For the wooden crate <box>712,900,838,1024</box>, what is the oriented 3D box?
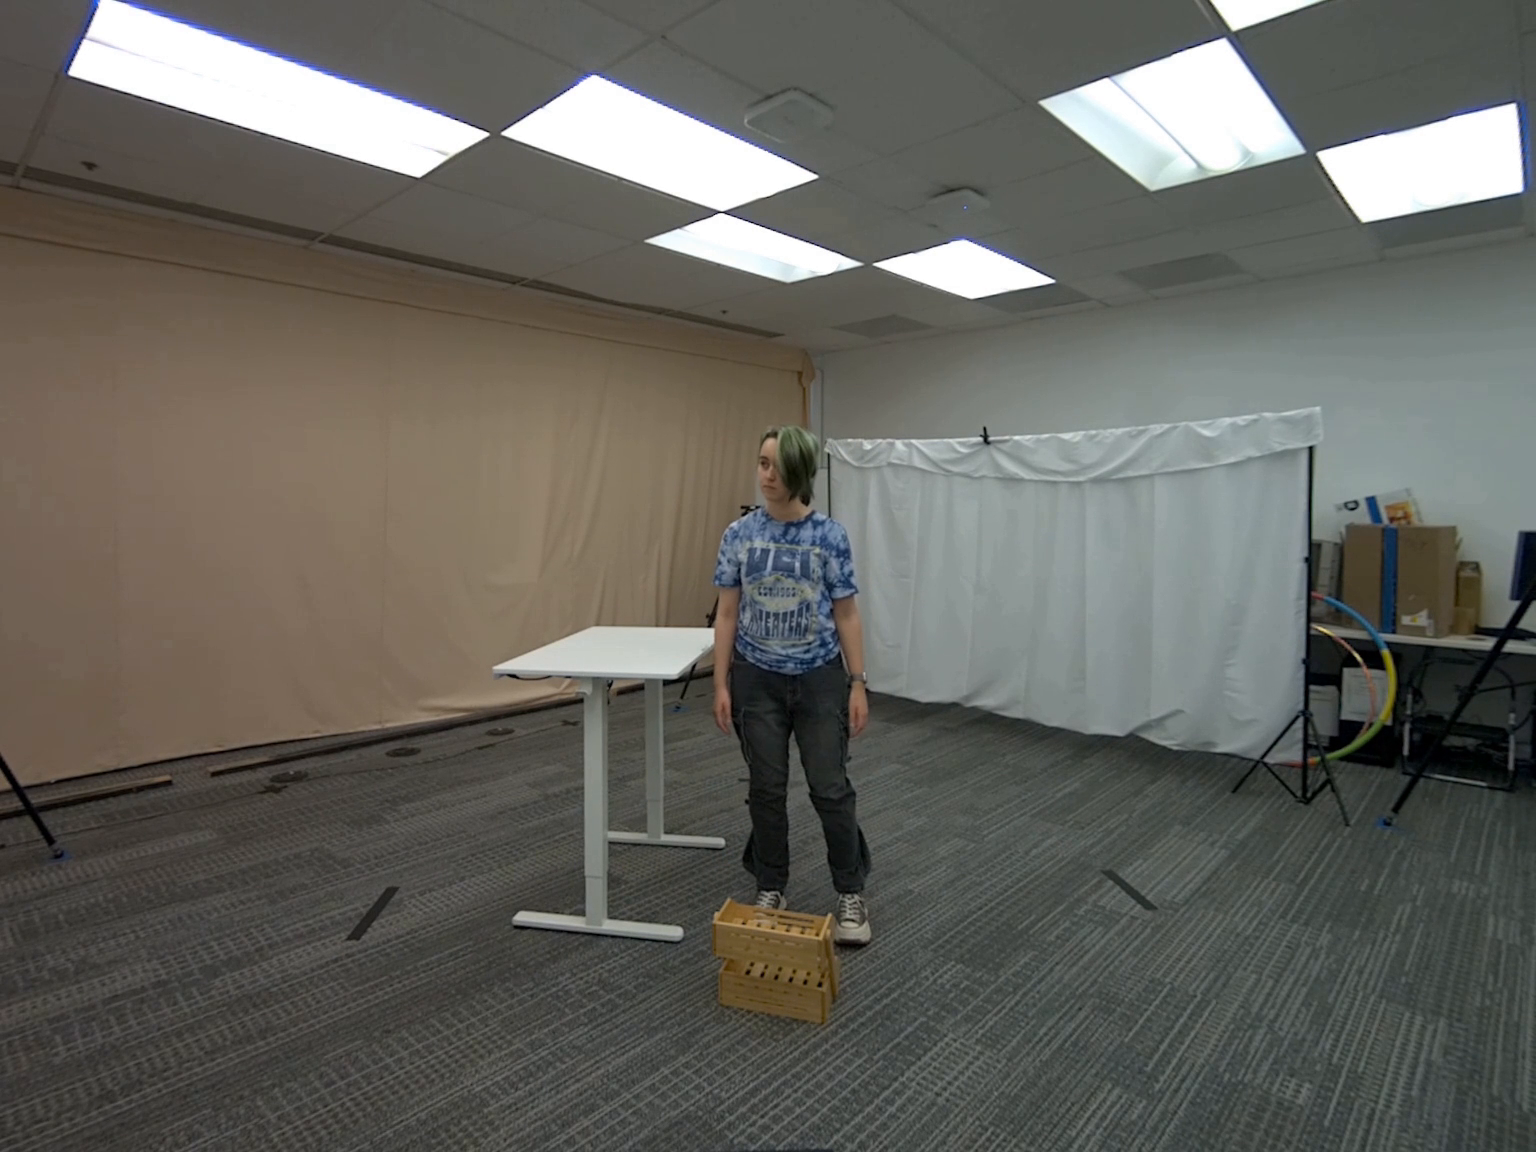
[{"bbox_3d":[0.037,1.060,2.394,0.330,0.273,0.297,2,4,17],"label":"wooden crate"}]
